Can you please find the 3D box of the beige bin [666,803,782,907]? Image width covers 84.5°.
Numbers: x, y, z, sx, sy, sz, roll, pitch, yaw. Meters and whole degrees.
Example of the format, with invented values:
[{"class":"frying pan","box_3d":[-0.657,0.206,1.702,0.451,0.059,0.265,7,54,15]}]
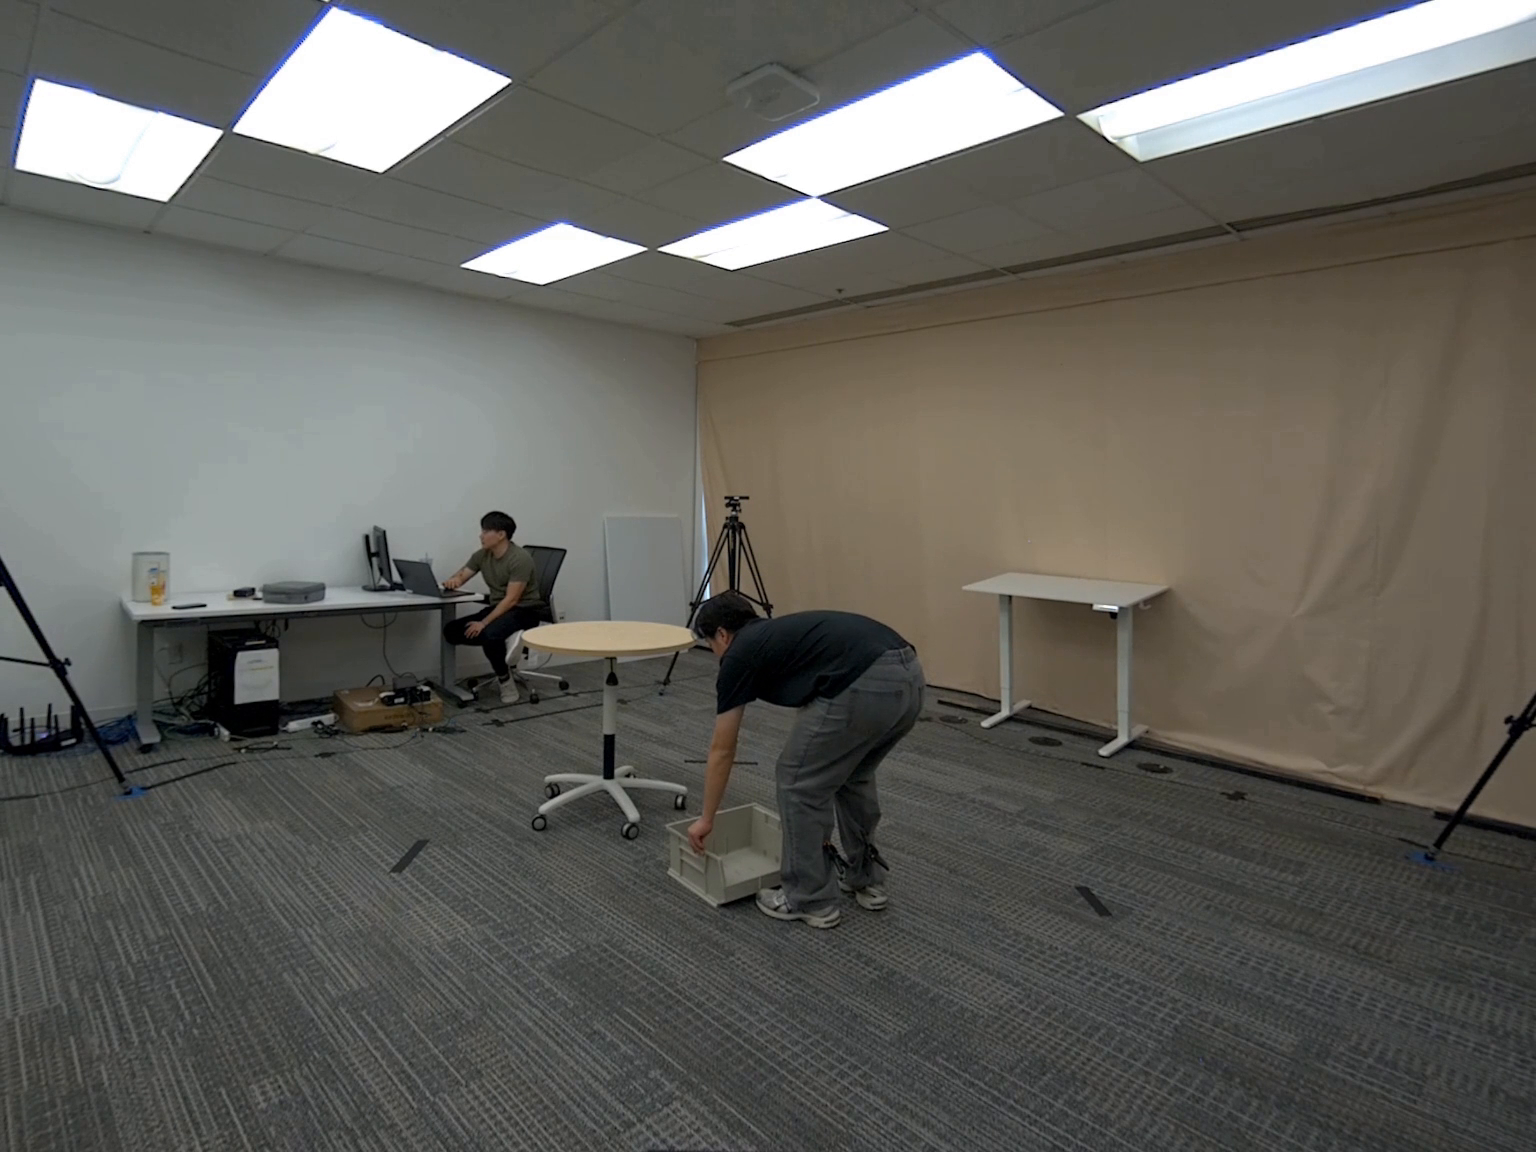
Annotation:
[{"class":"beige bin","box_3d":[-0.107,1.014,3.085,0.413,0.188,0.387,-3,6,-38]}]
